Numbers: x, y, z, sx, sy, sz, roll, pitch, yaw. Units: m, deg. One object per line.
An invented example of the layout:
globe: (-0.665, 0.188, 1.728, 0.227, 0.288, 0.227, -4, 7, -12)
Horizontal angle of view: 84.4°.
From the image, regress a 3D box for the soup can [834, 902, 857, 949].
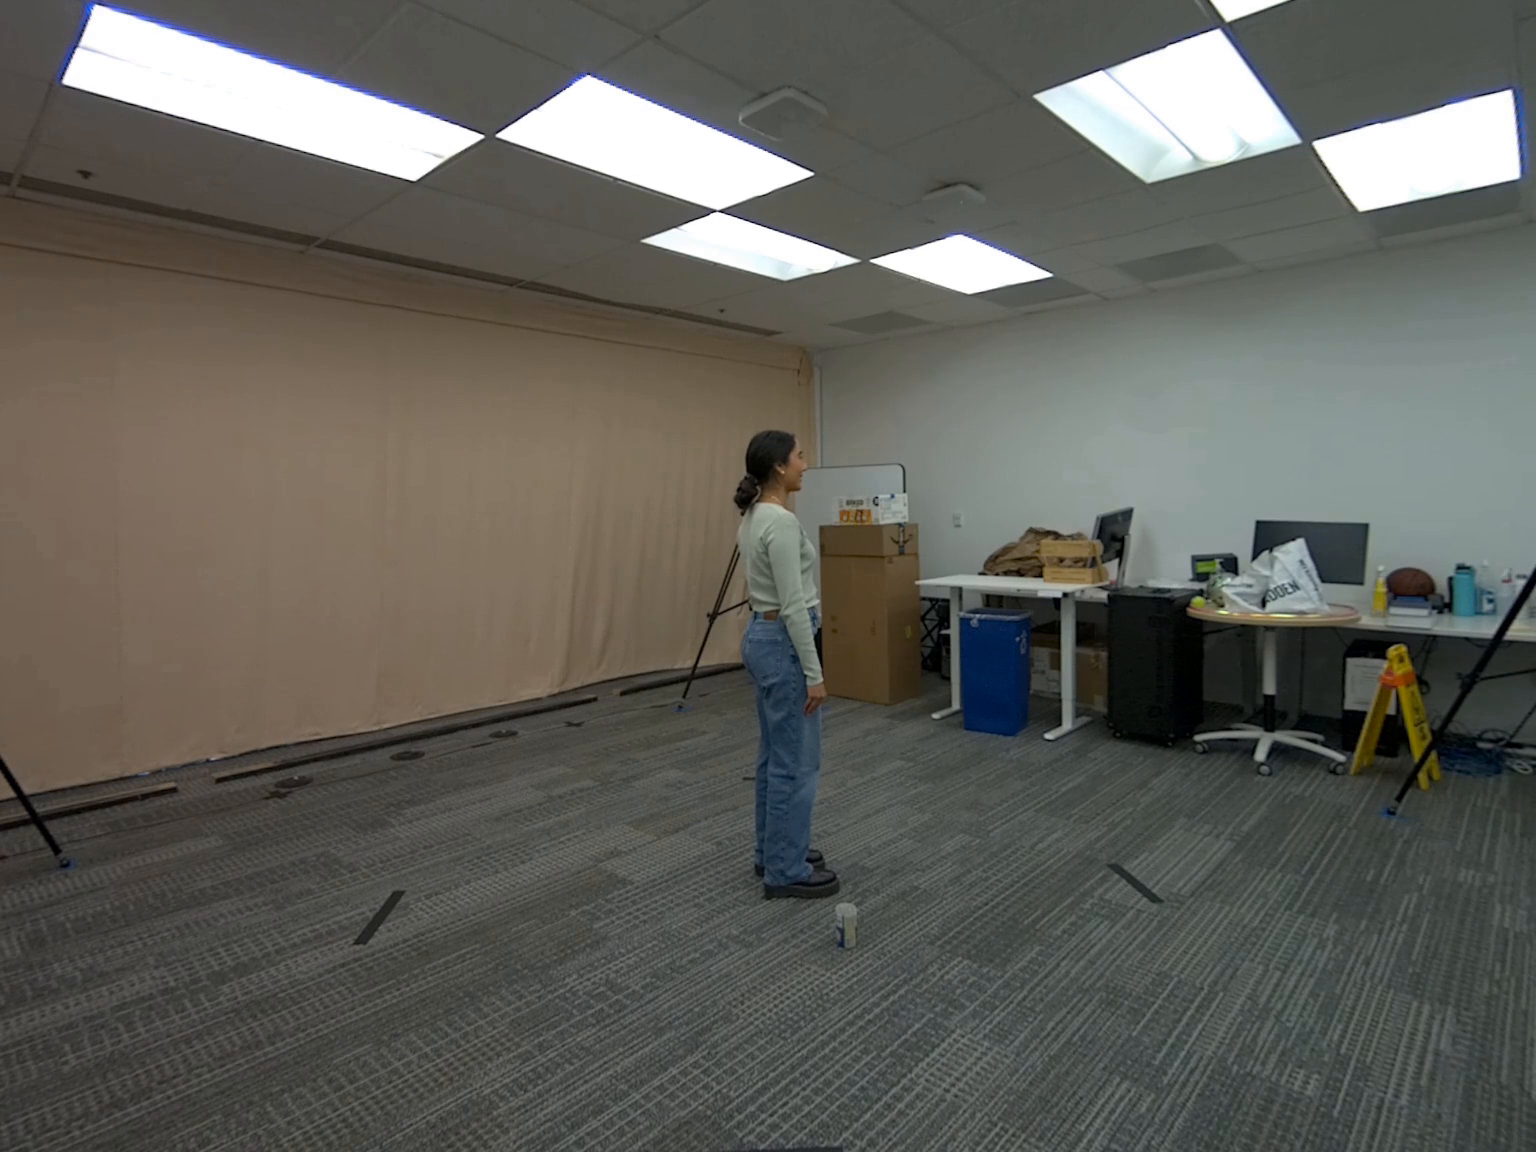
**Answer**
soup can: (0.252, 1.107, 2.651, 0.067, 0.121, 0.067, -2, 2, -2)
